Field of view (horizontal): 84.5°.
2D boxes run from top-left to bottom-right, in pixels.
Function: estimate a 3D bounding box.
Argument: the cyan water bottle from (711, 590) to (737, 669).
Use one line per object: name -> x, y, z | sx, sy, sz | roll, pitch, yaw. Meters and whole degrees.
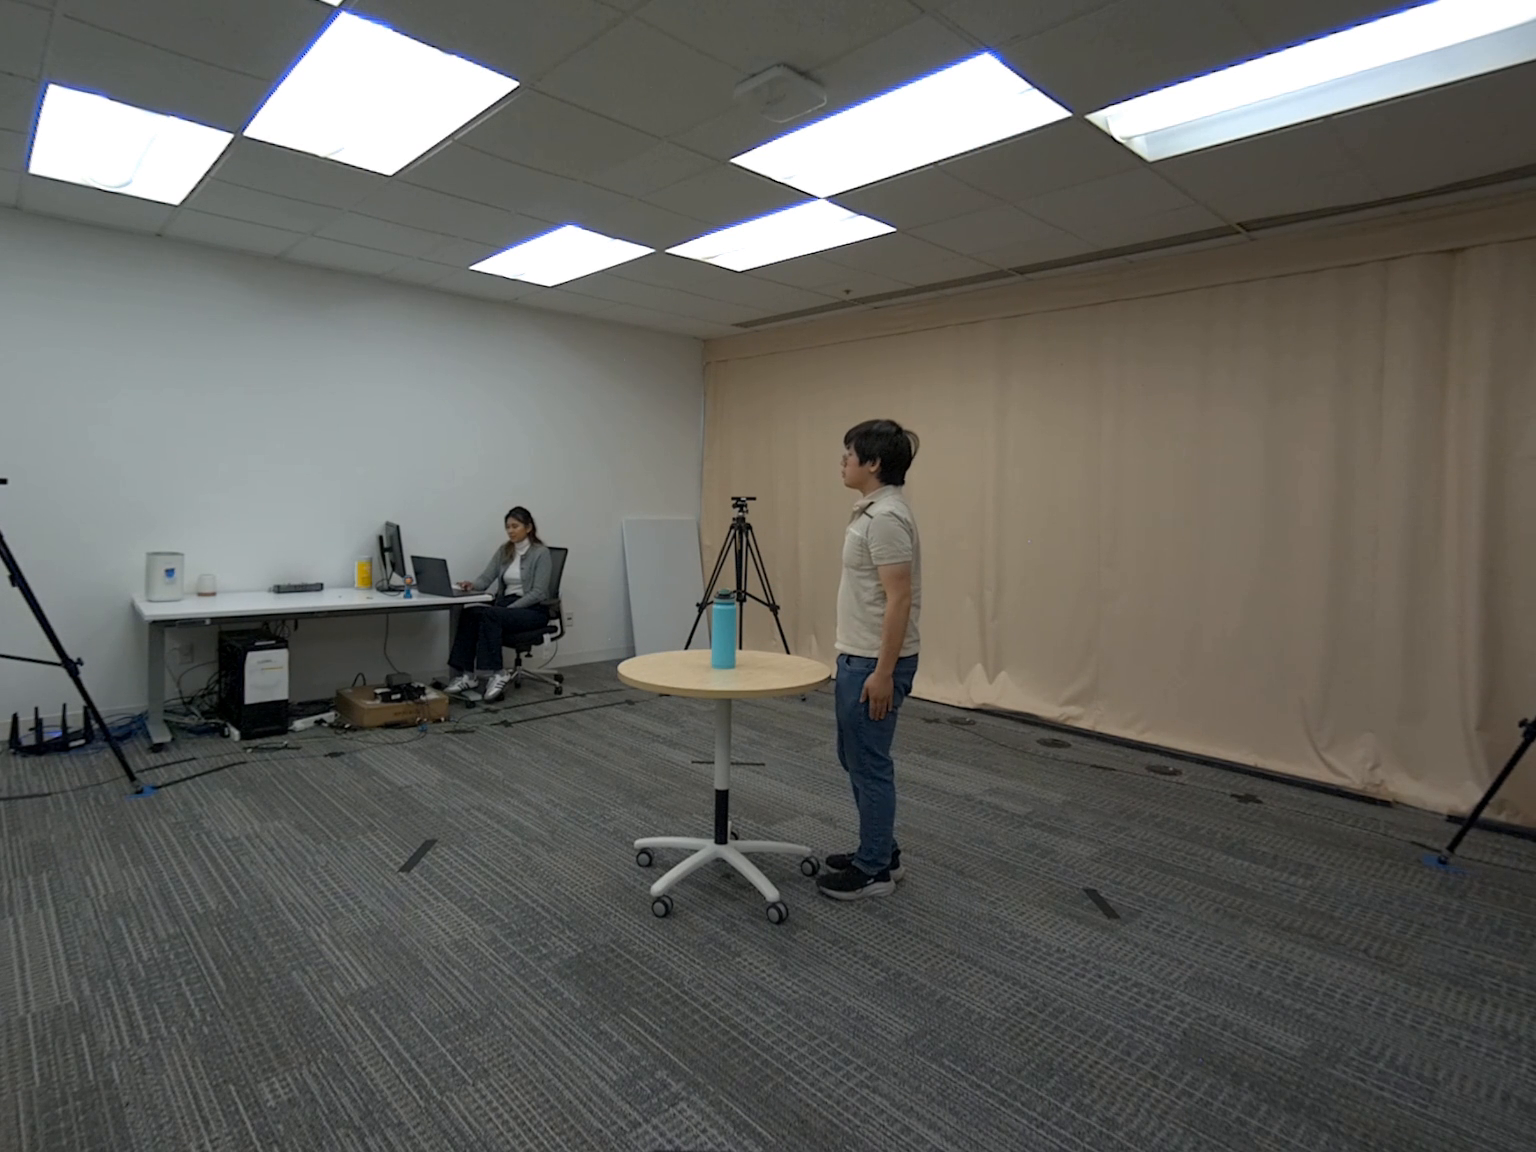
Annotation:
cyan water bottle -> -0.159, 0.191, 3.034 | 0.092, 0.282, 0.093 | 3, 5, -2
